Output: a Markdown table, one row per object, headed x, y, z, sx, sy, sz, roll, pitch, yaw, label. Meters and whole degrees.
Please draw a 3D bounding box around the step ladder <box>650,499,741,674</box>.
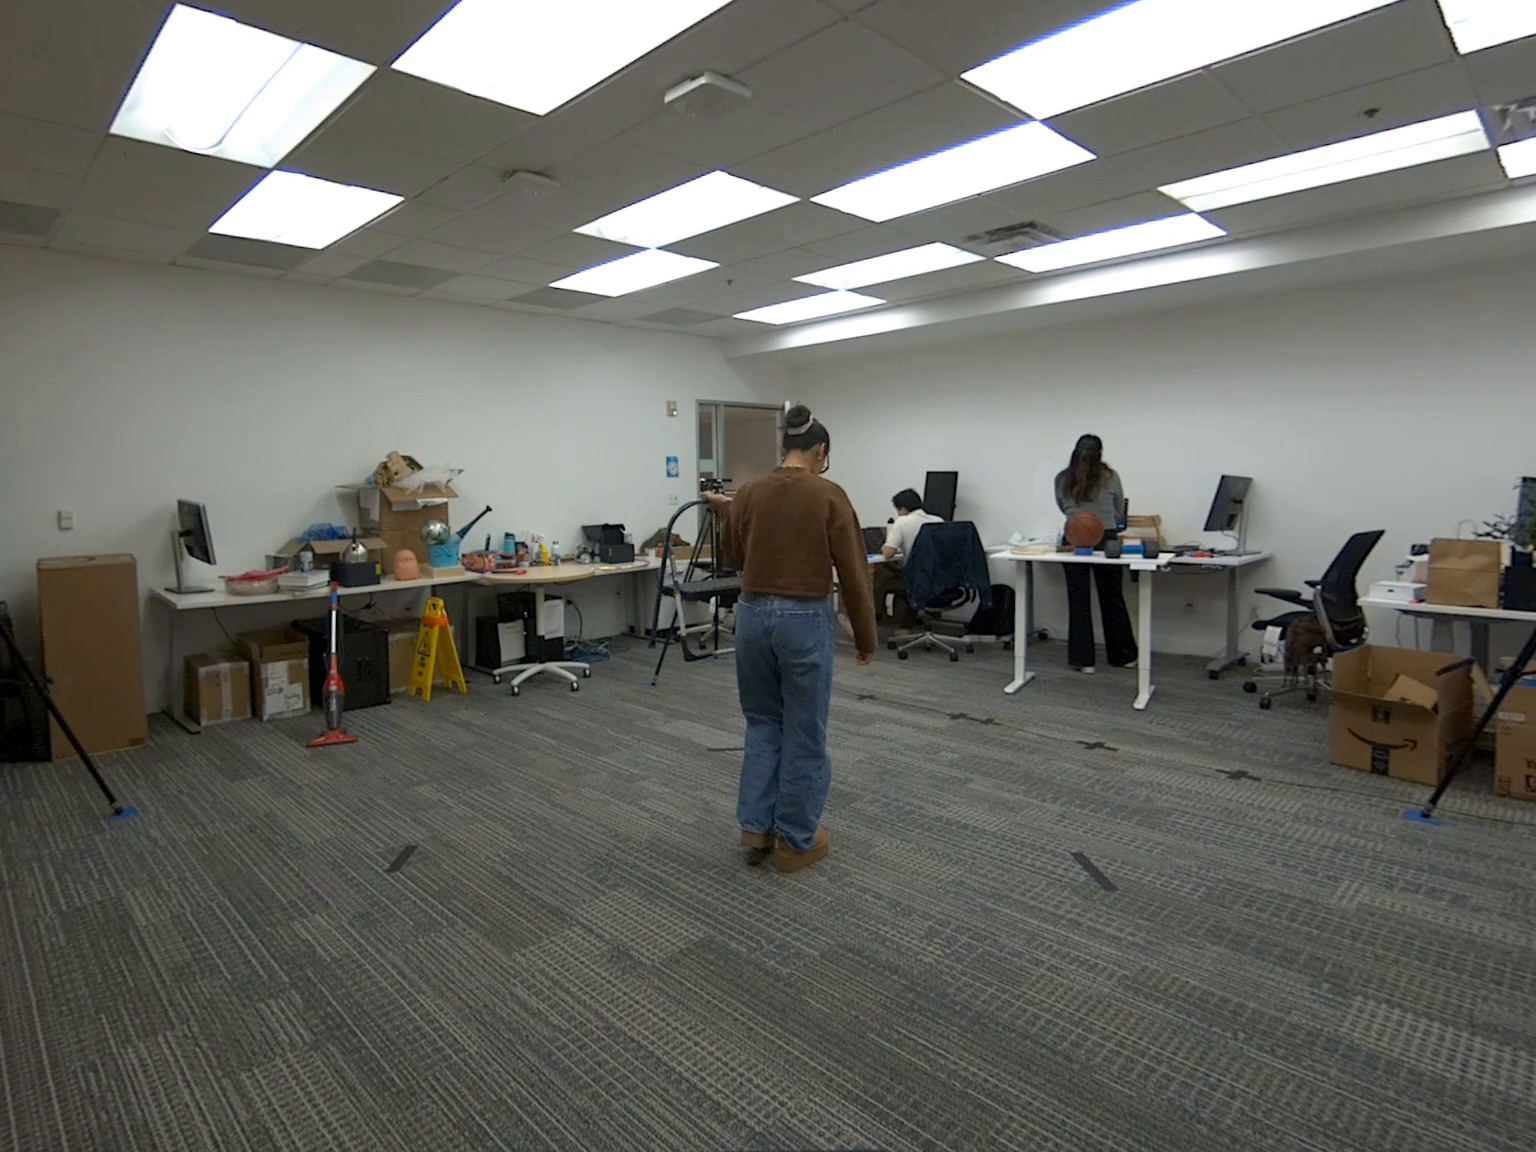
| x | y | z | sx | sy | sz | roll | pitch | yaw | label |
| --- | --- | --- | --- | --- | --- | --- | --- | --- | --- |
| -0.225 | -0.009 | 3.408 | 0.421 | 0.603 | 0.359 | -6 | 7 | -31 | step ladder |
